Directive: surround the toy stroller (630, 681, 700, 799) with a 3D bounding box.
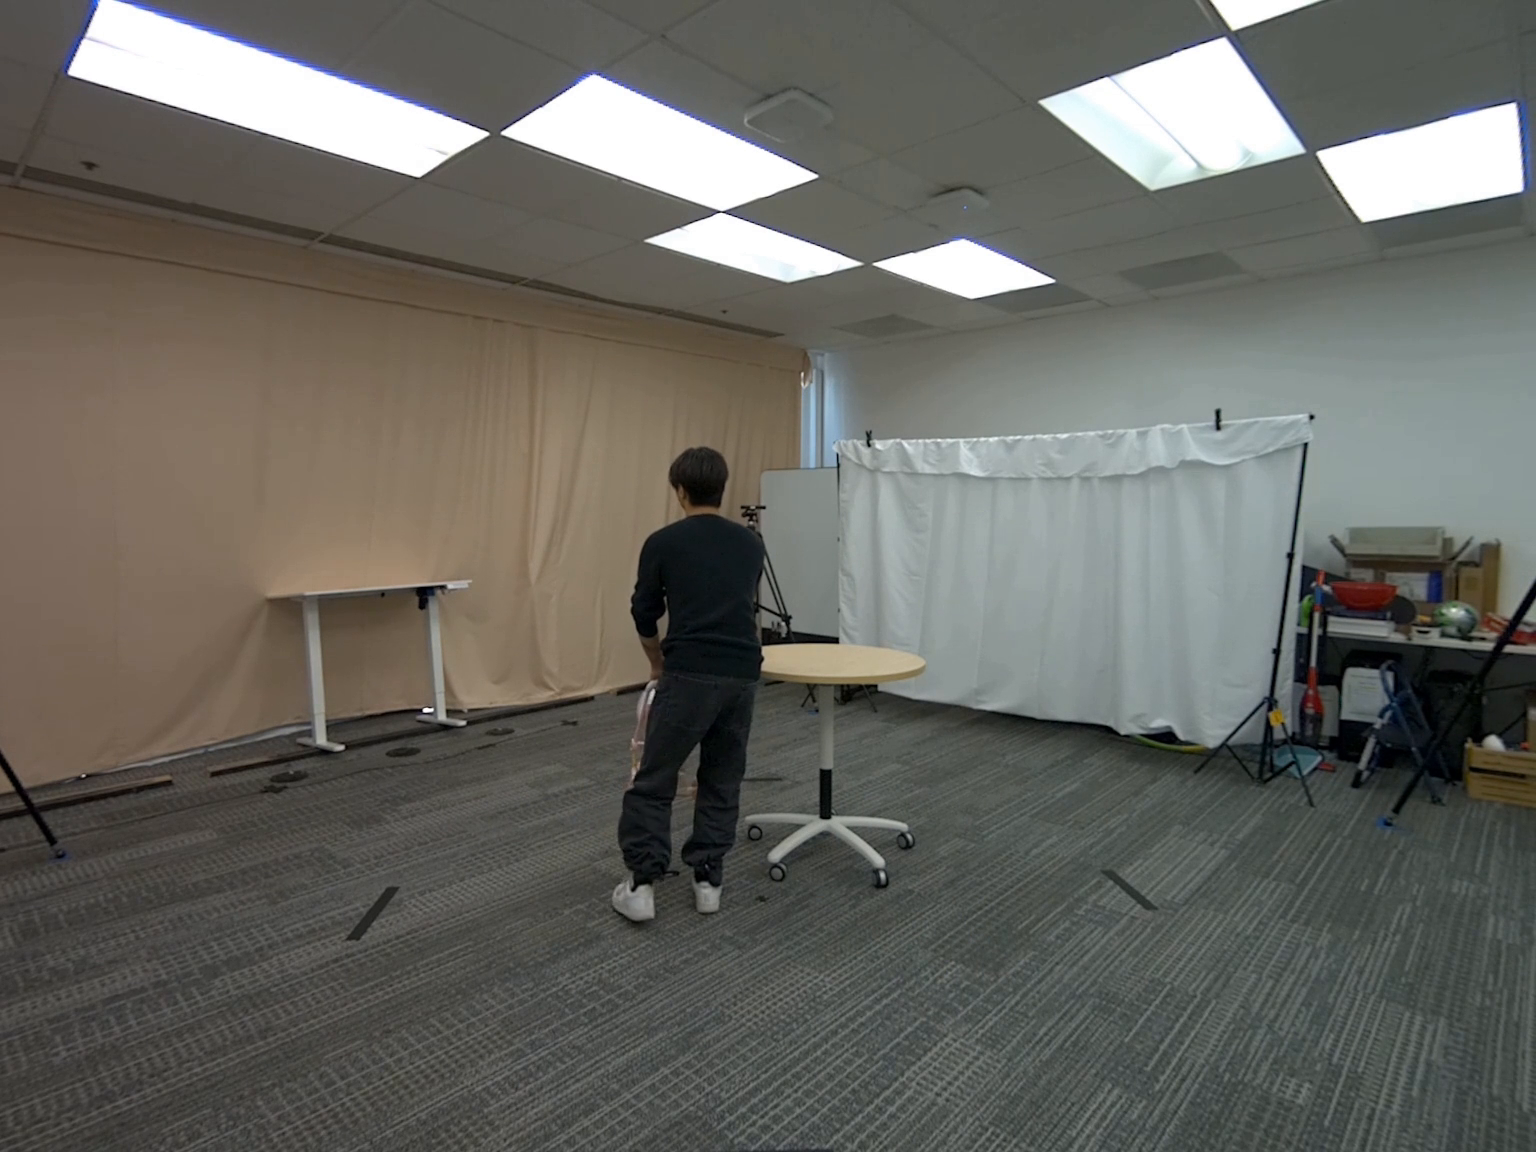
[{"bbox_3d":[-0.413,0.675,3.323,0.276,0.537,0.346,4,-7,-18],"label":"toy stroller"}]
